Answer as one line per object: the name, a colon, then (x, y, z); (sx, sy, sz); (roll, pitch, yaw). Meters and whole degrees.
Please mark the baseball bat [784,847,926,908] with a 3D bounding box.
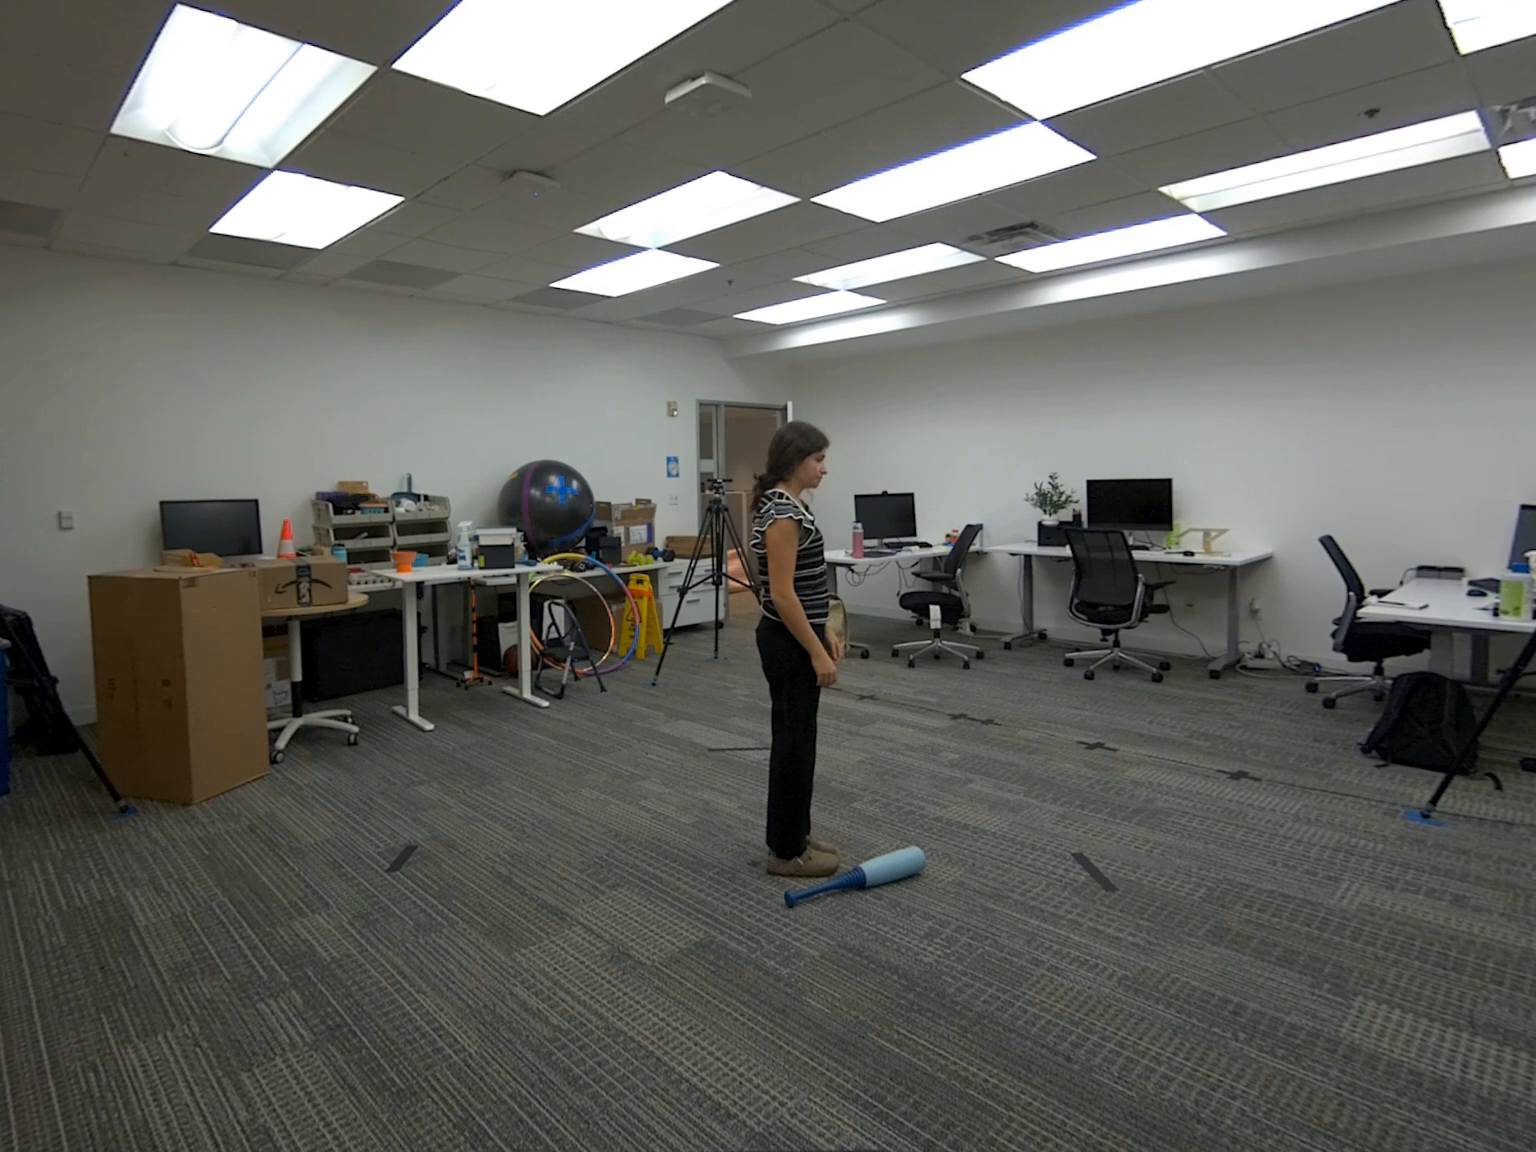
baseball bat: (0.306, 1.029, 2.895); (0.533, 0.088, 0.091); (-8, 7, -24)
